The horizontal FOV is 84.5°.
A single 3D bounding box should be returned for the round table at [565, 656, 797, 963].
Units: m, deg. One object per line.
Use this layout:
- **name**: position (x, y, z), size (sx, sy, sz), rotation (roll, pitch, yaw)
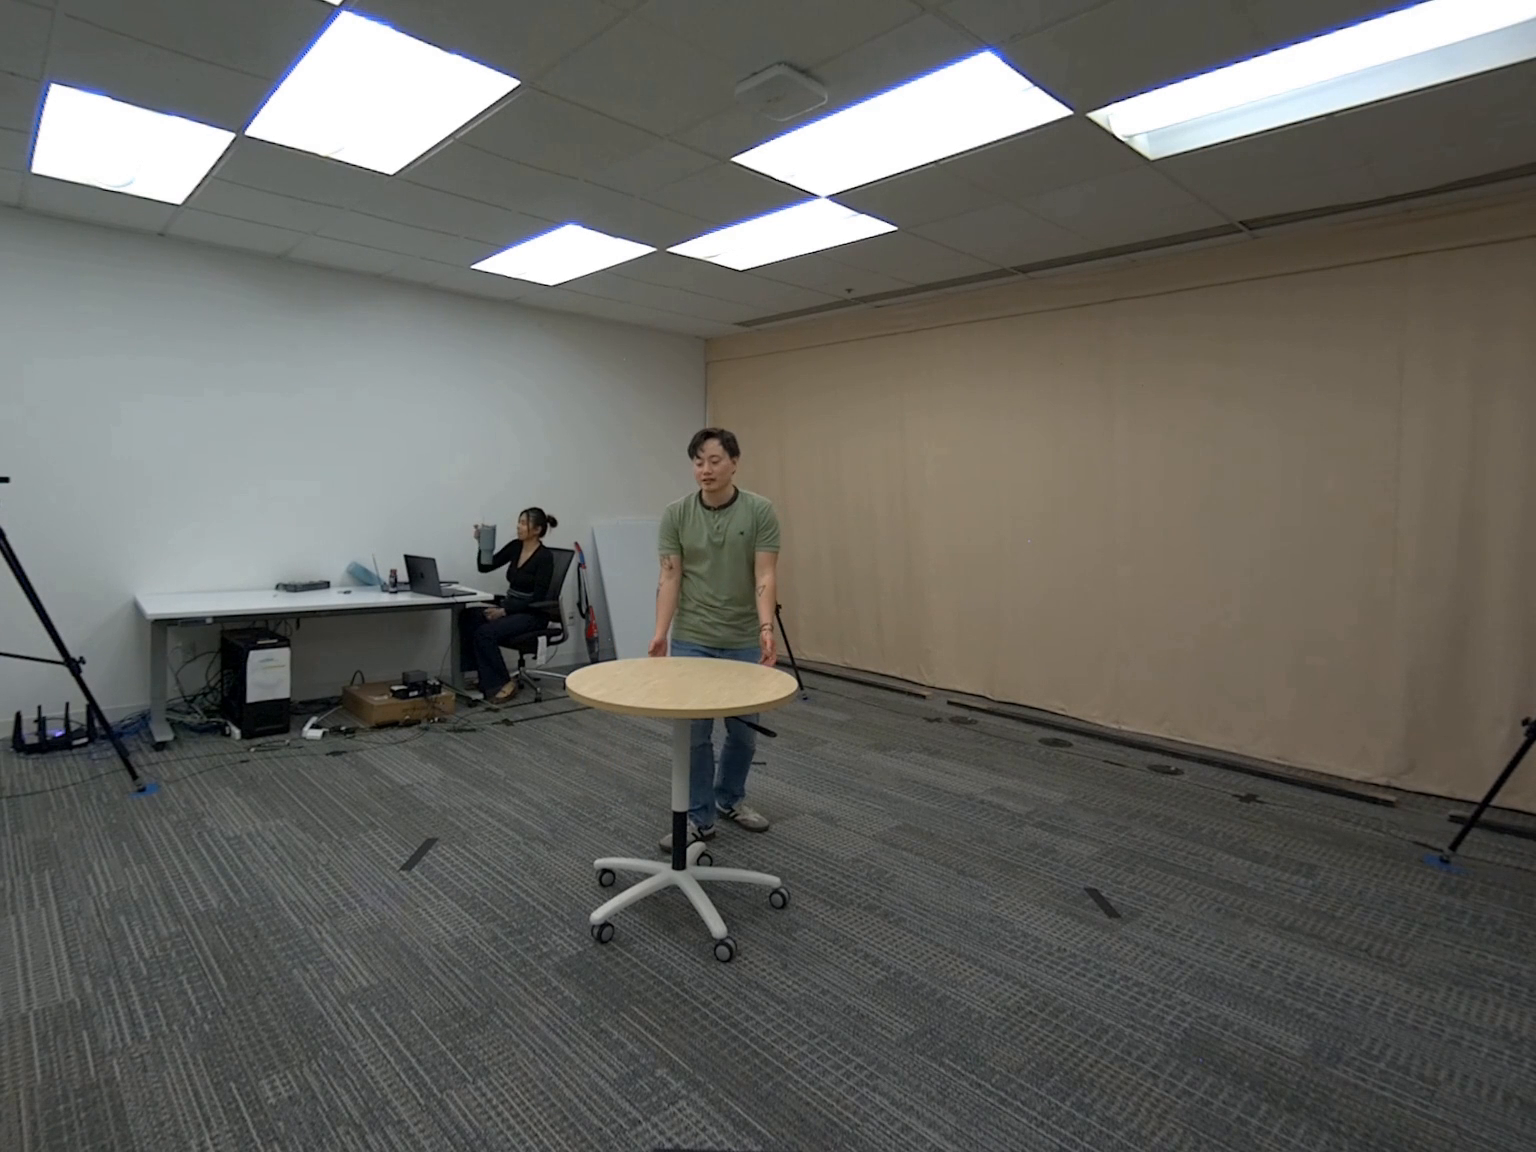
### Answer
- **round table**: position (-0.302, 0.740, 2.816), size (0.763, 0.792, 0.766), rotation (1, 4, -1)
